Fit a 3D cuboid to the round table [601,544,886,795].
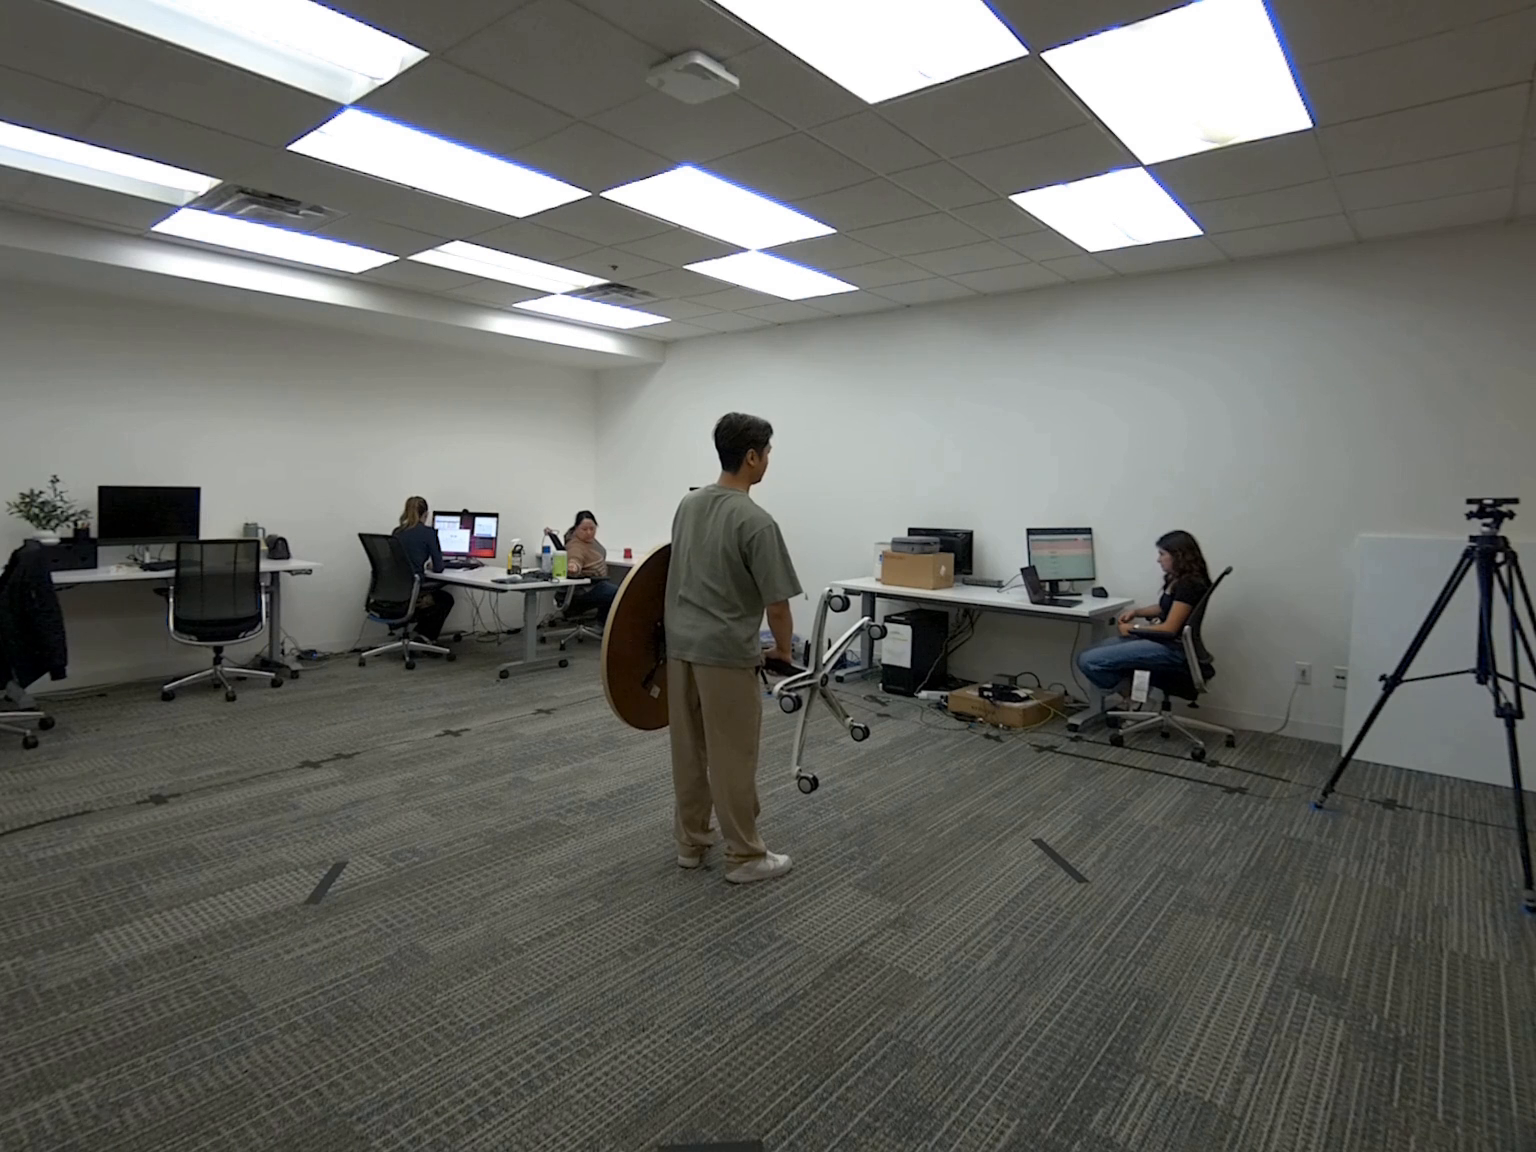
[{"bbox_3d":[-0.072,0.309,3.169,0.814,0.780,0.764,13,10,32],"label":"round table"}]
